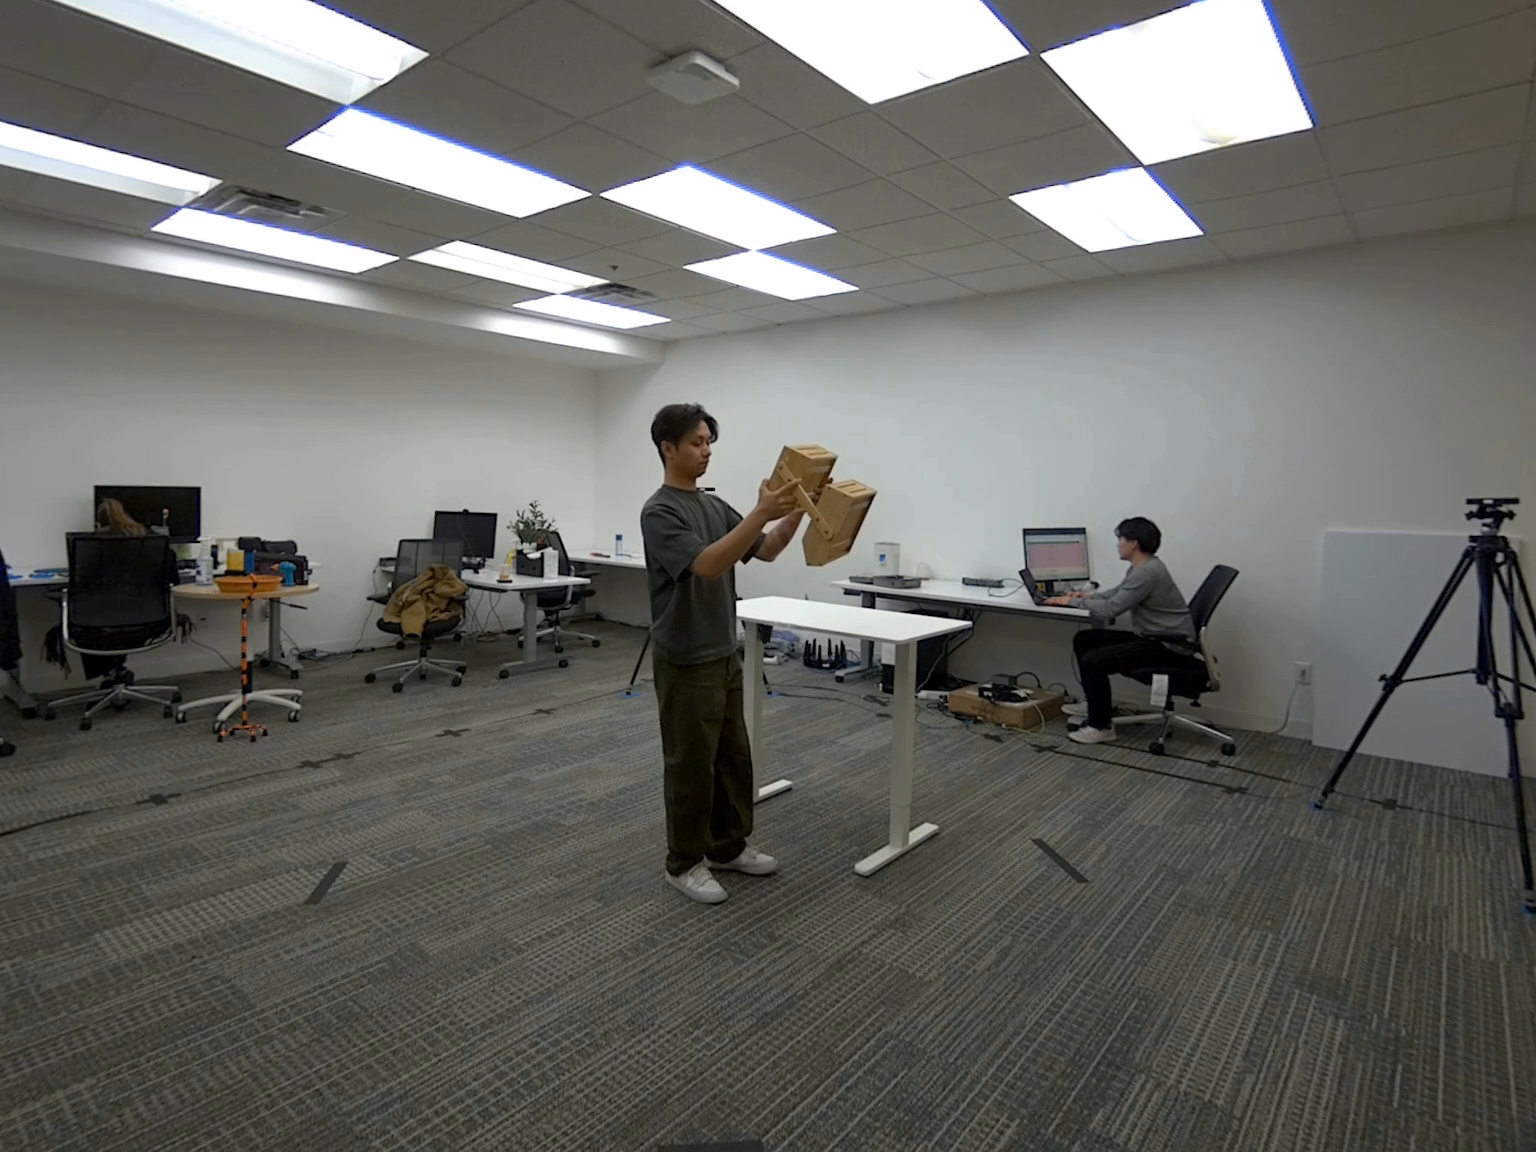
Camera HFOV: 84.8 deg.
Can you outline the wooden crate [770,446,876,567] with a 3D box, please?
[{"bbox_3d":[0.143,-0.229,2.703,0.280,0.300,0.319,29,17,17],"label":"wooden crate"}]
